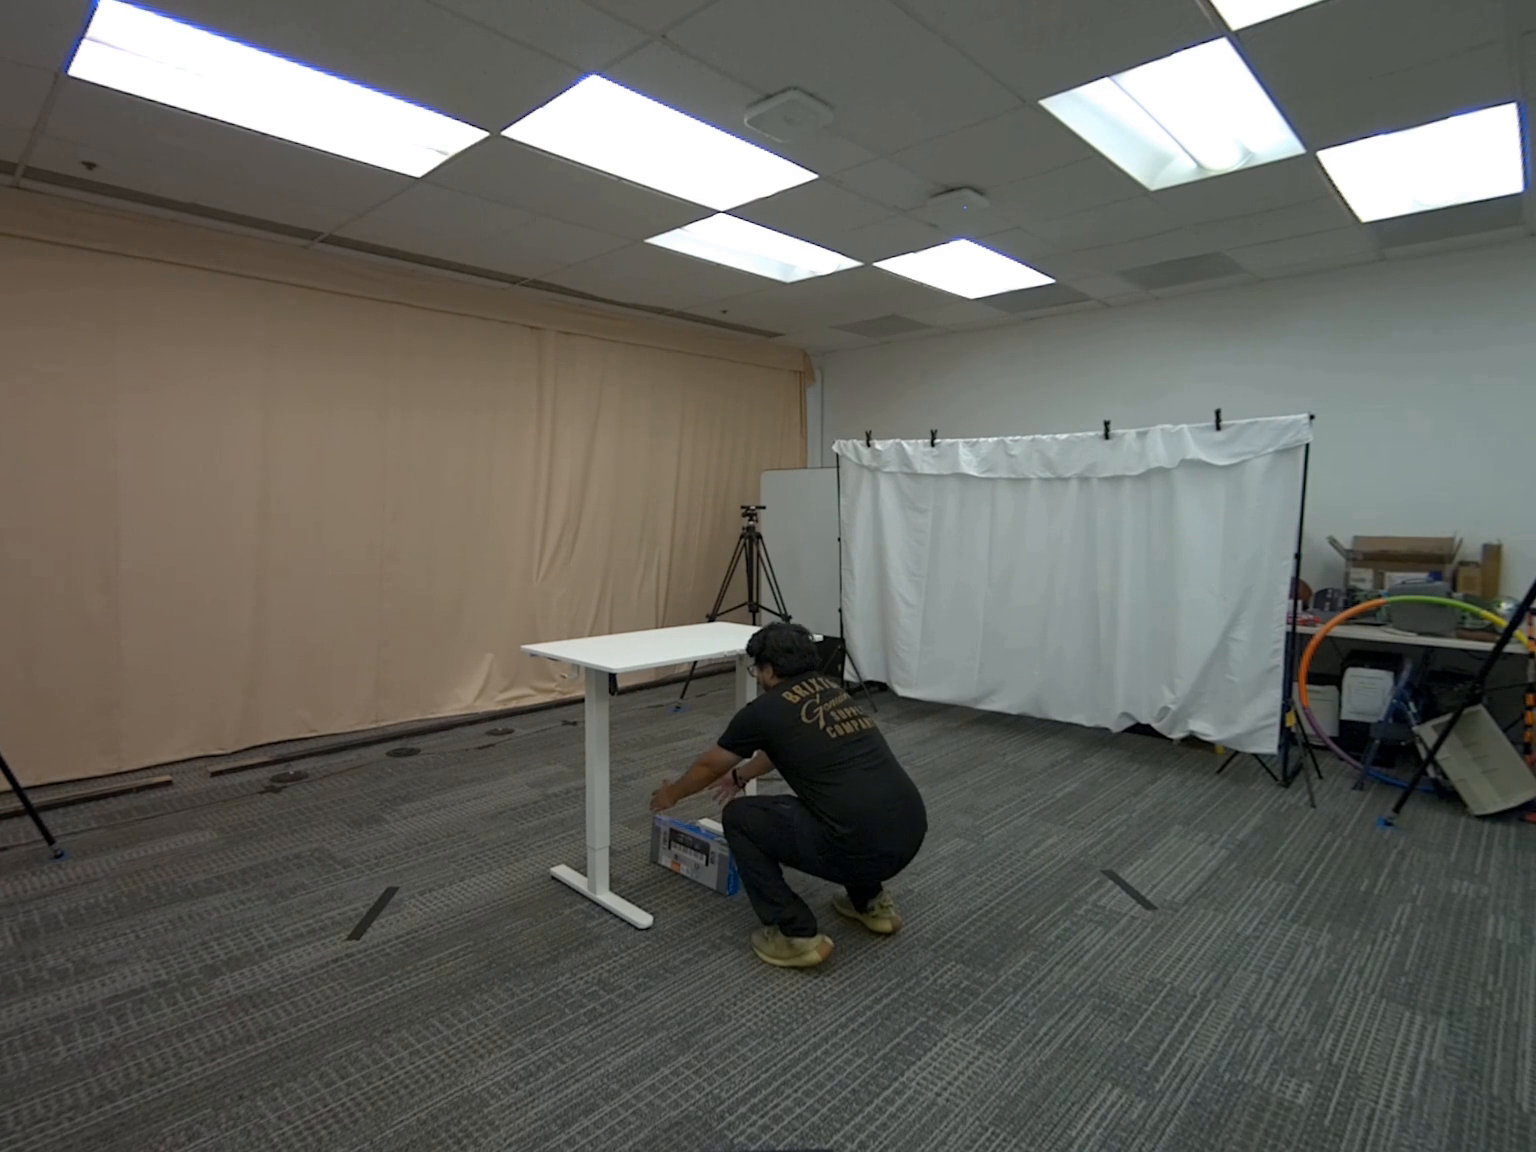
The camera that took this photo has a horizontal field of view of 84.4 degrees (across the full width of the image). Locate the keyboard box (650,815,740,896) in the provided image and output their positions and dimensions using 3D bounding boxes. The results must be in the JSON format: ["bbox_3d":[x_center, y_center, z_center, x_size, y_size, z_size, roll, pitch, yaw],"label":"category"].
[{"bbox_3d":[-0.279,1.042,3.171,0.451,0.176,0.057,4,-1,44],"label":"keyboard box"}]
